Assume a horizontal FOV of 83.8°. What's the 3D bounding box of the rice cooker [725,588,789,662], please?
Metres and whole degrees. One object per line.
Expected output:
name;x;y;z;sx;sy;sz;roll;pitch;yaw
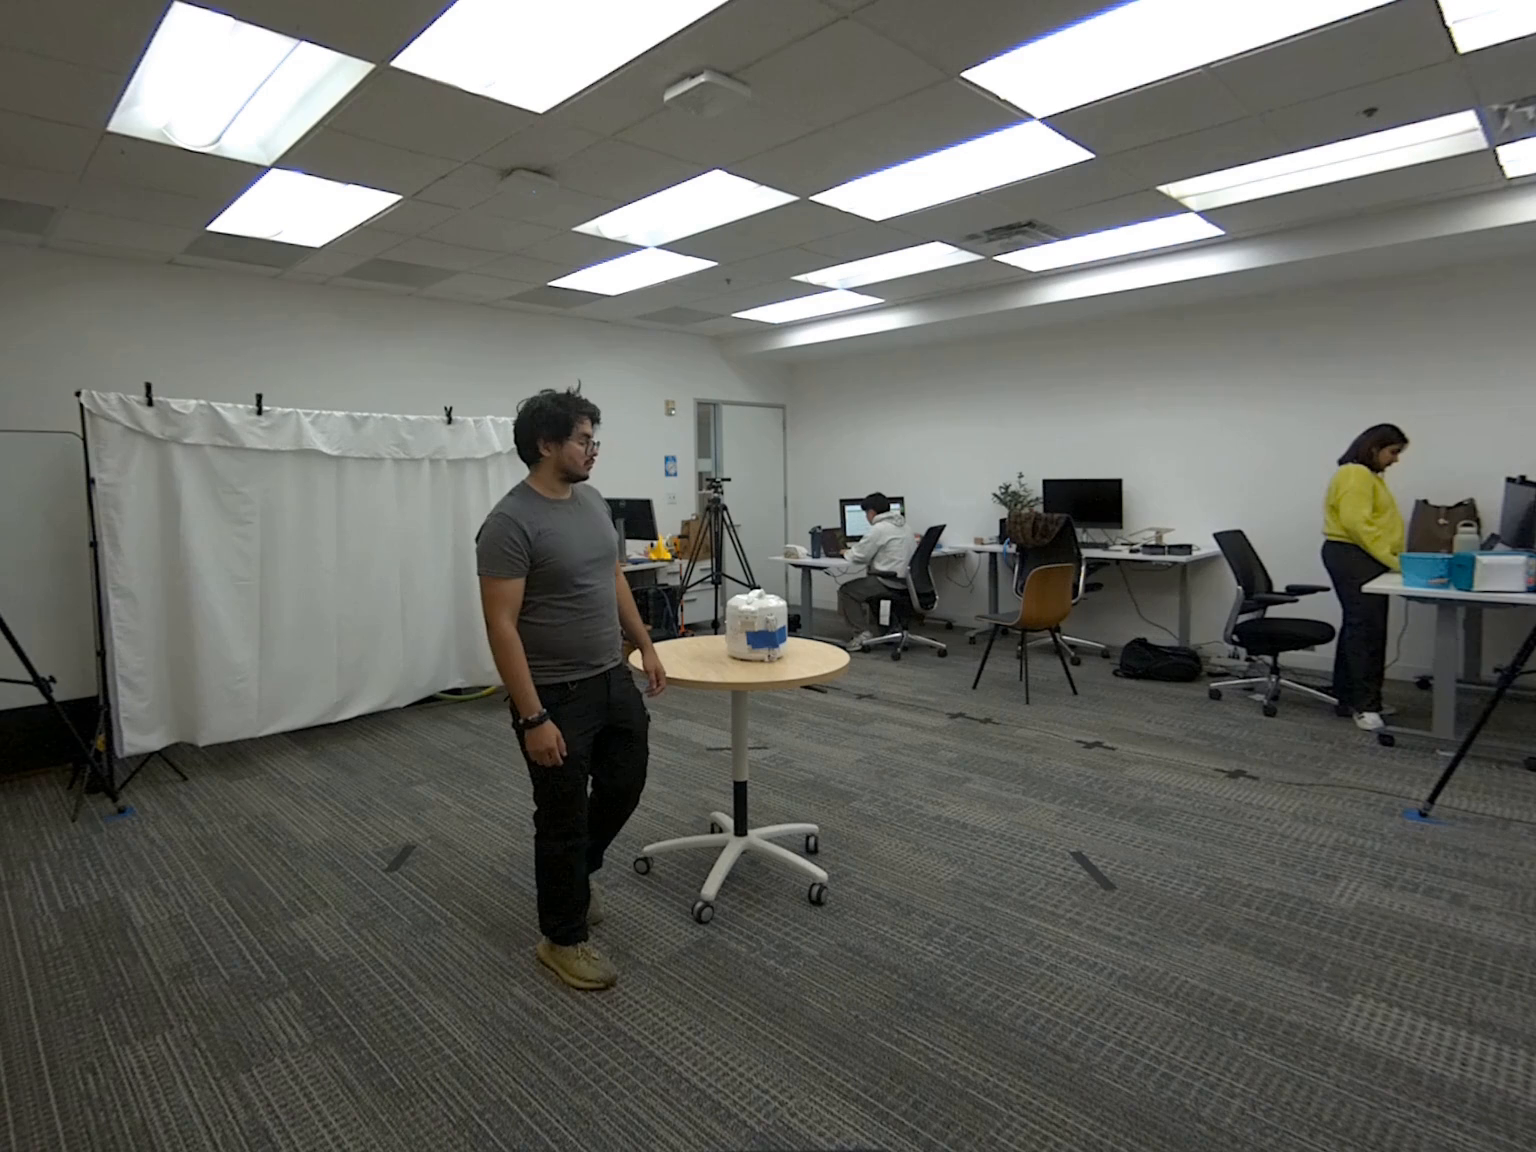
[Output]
rice cooker;-0.039;0.162;2.949;0.221;0.232;0.218;2;5;18
